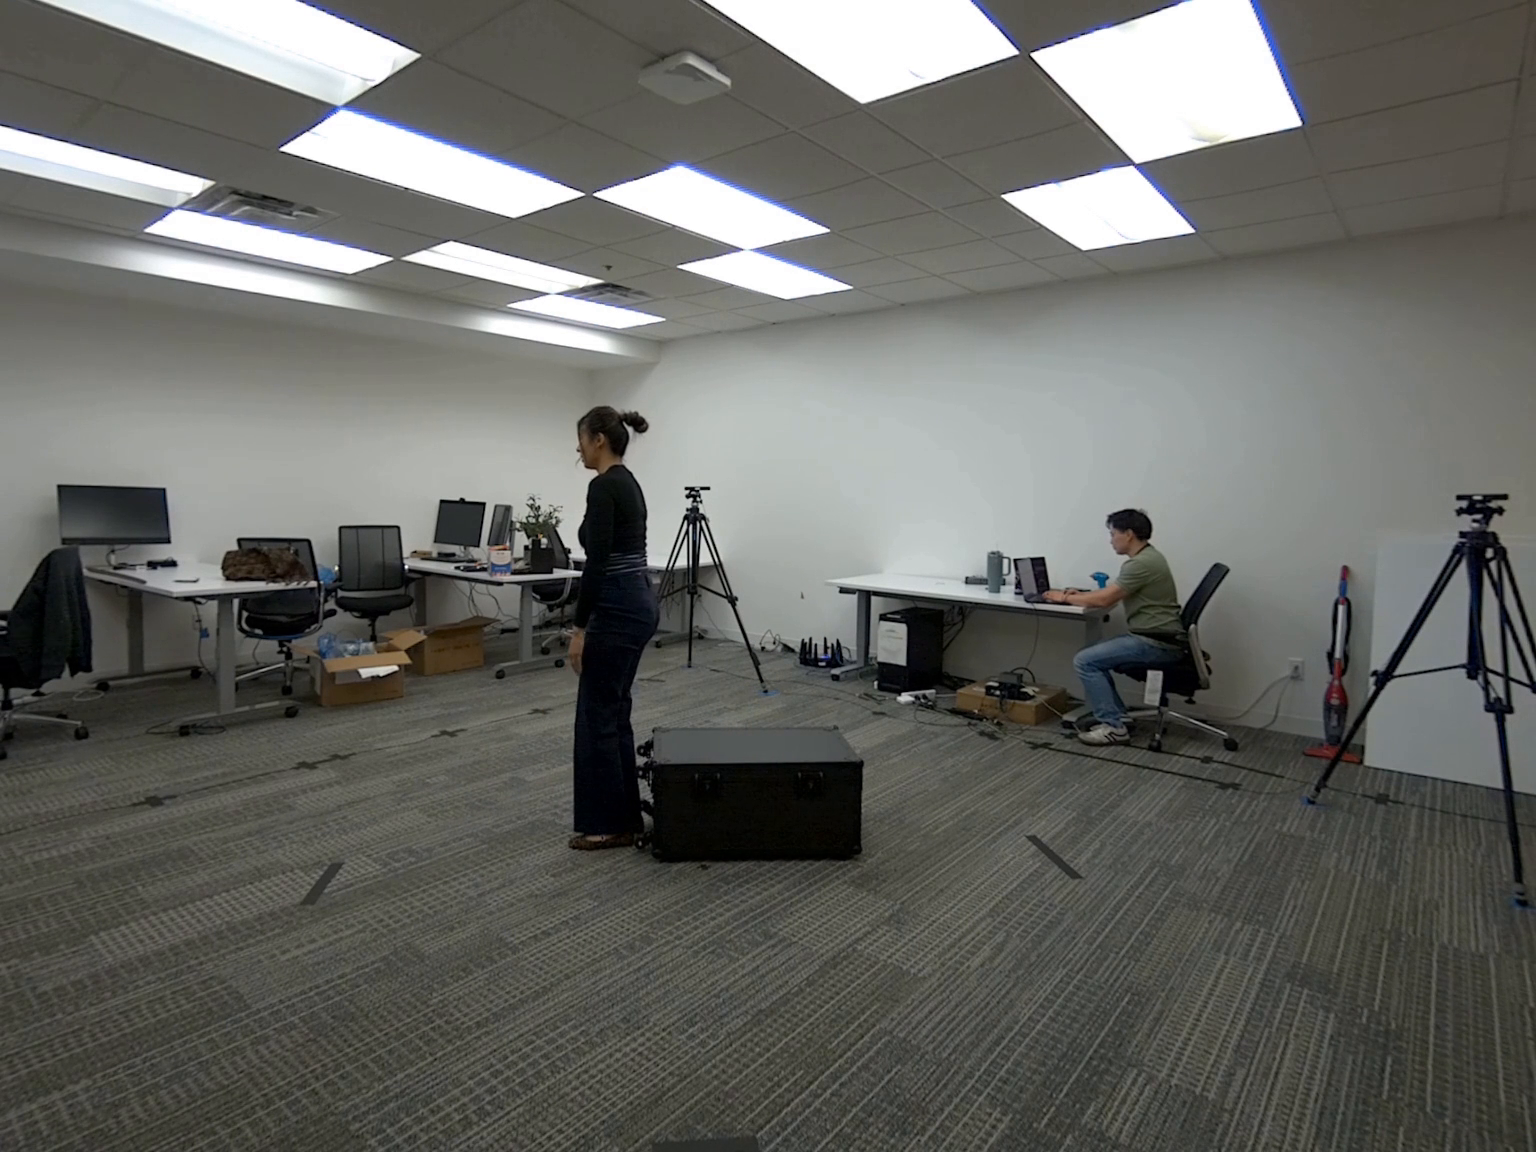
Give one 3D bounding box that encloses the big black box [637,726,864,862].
[{"bbox_3d":[-0.104,0.848,3.390,0.857,0.395,0.526,0,5,-5],"label":"big black box"}]
